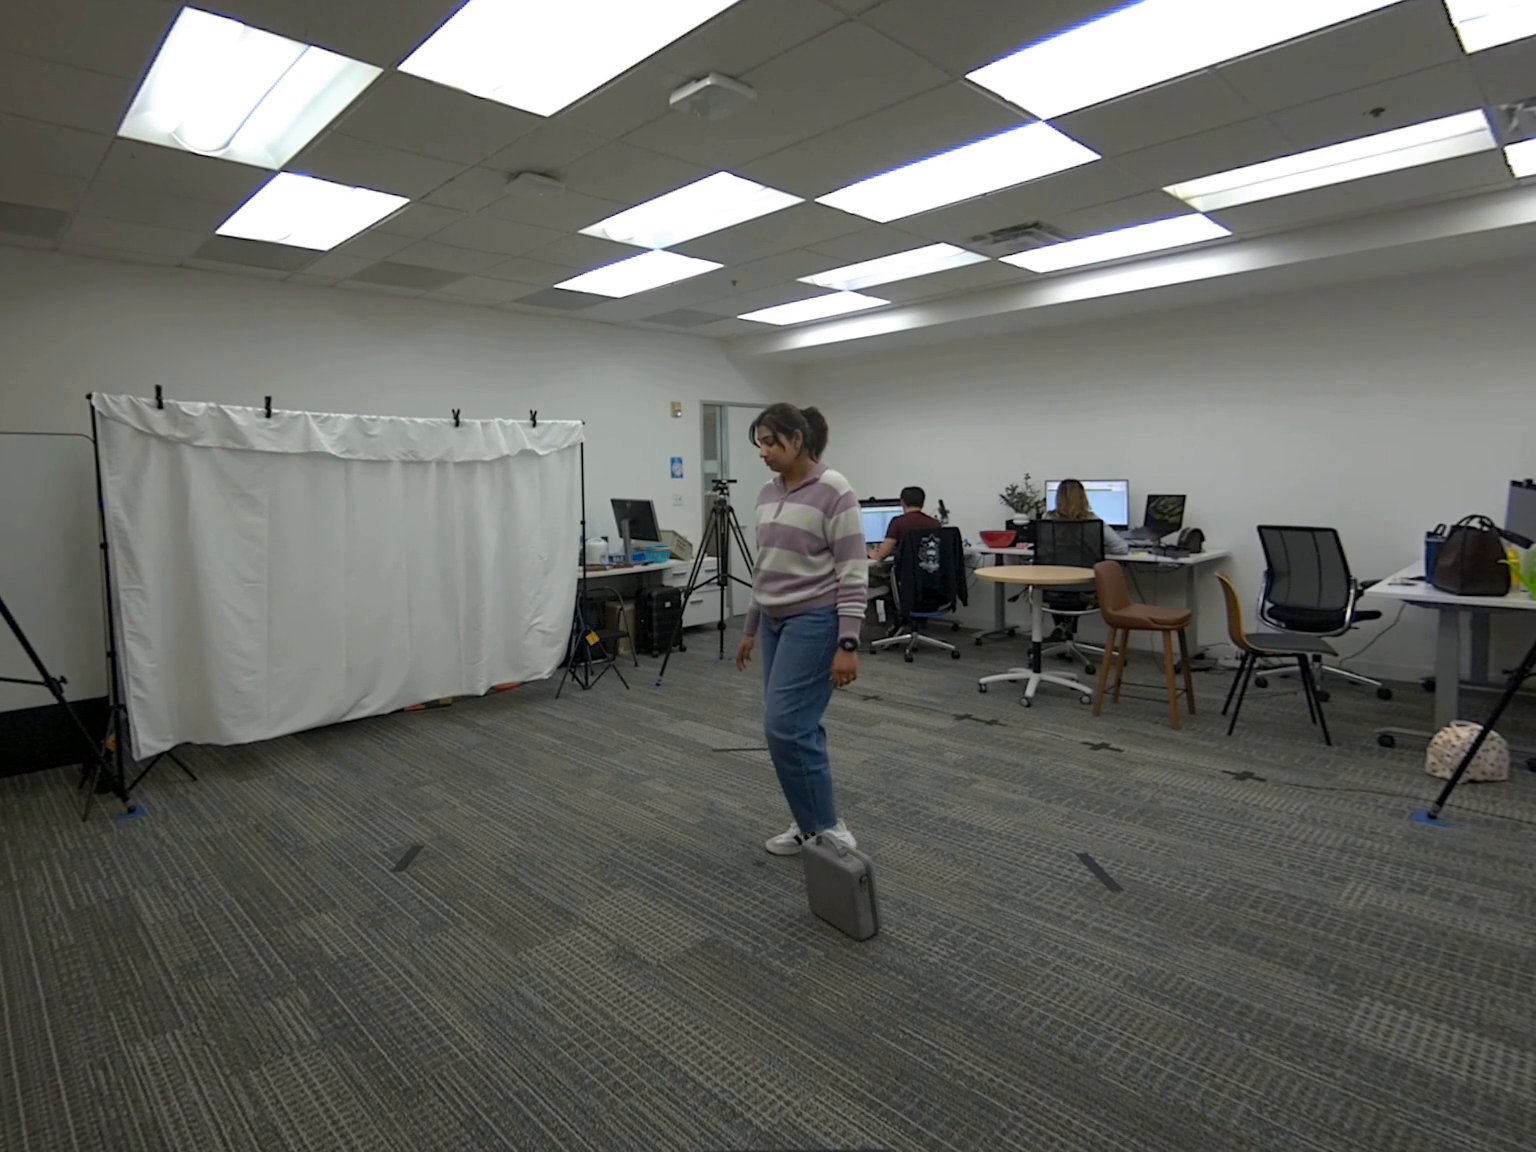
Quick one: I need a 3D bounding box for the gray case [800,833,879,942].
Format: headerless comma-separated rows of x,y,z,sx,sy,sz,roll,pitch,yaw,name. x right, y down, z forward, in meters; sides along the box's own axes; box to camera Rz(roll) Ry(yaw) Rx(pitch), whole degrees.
0.228,0.962,2.662,0.102,0.258,0.264,-12,11,-33,gray case
